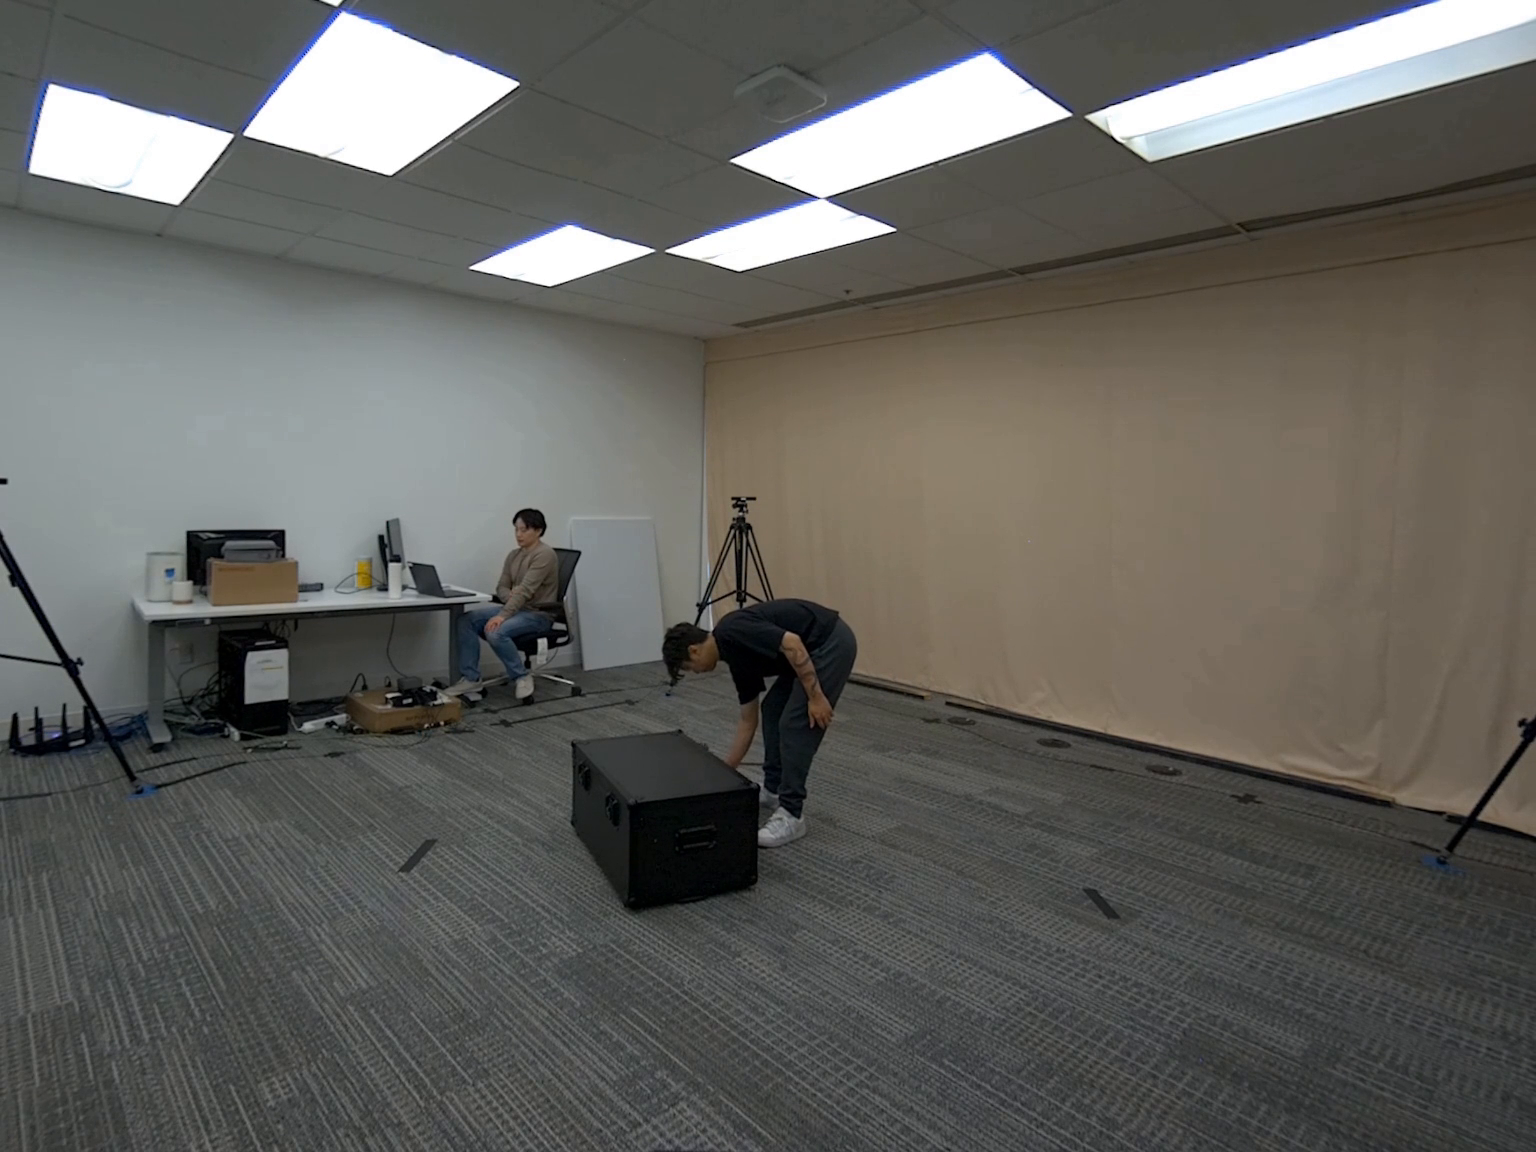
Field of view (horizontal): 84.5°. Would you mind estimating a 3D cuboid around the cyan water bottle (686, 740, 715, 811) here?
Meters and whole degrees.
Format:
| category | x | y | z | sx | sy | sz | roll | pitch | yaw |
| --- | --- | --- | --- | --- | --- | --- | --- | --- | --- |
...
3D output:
| category | x | y | z | sx | sy | sz | roll | pitch | yaw |
| --- | --- | --- | --- | --- | --- | --- | --- | --- | --- |
| cyan water bottle | -0.307 | 0.898 | 3.830 | 0.092 | 0.283 | 0.092 | -7 | 3 | -1 |
